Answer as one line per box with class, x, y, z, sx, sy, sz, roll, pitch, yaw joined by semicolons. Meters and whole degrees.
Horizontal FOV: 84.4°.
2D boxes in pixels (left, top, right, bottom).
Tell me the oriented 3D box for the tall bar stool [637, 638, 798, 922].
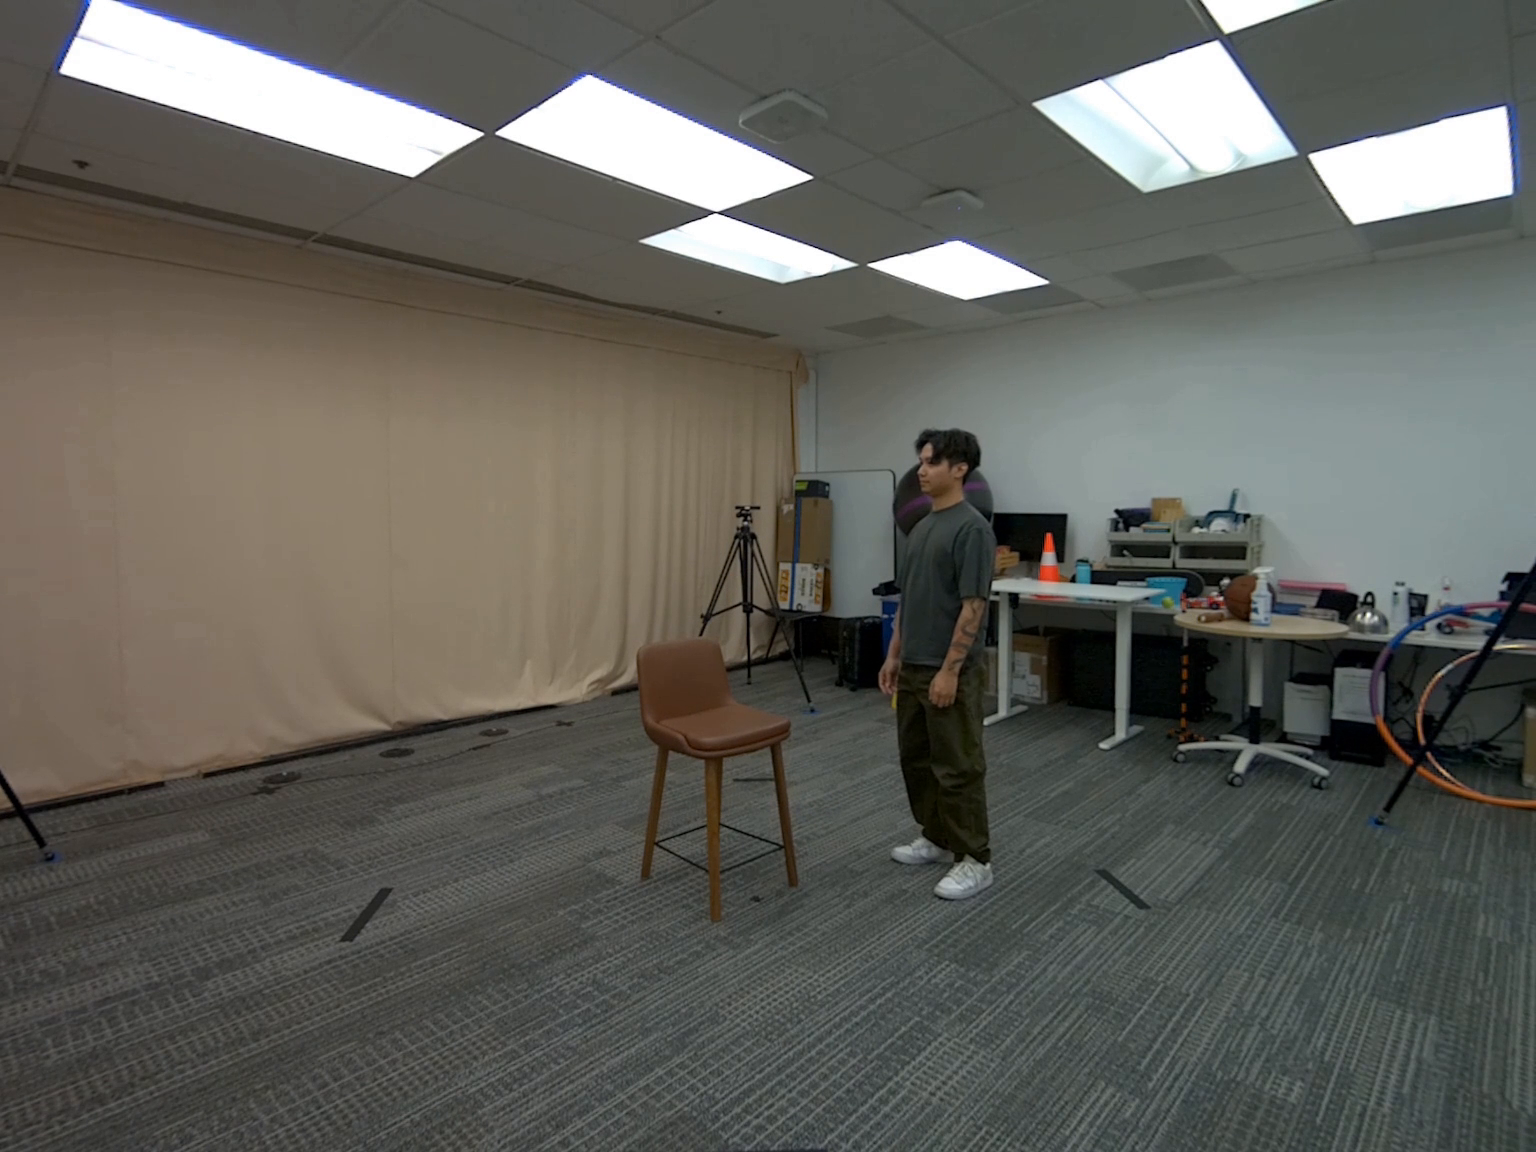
tall bar stool;-0.194;0.703;3.099;0.442;0.889;0.483;-3;2;-43
